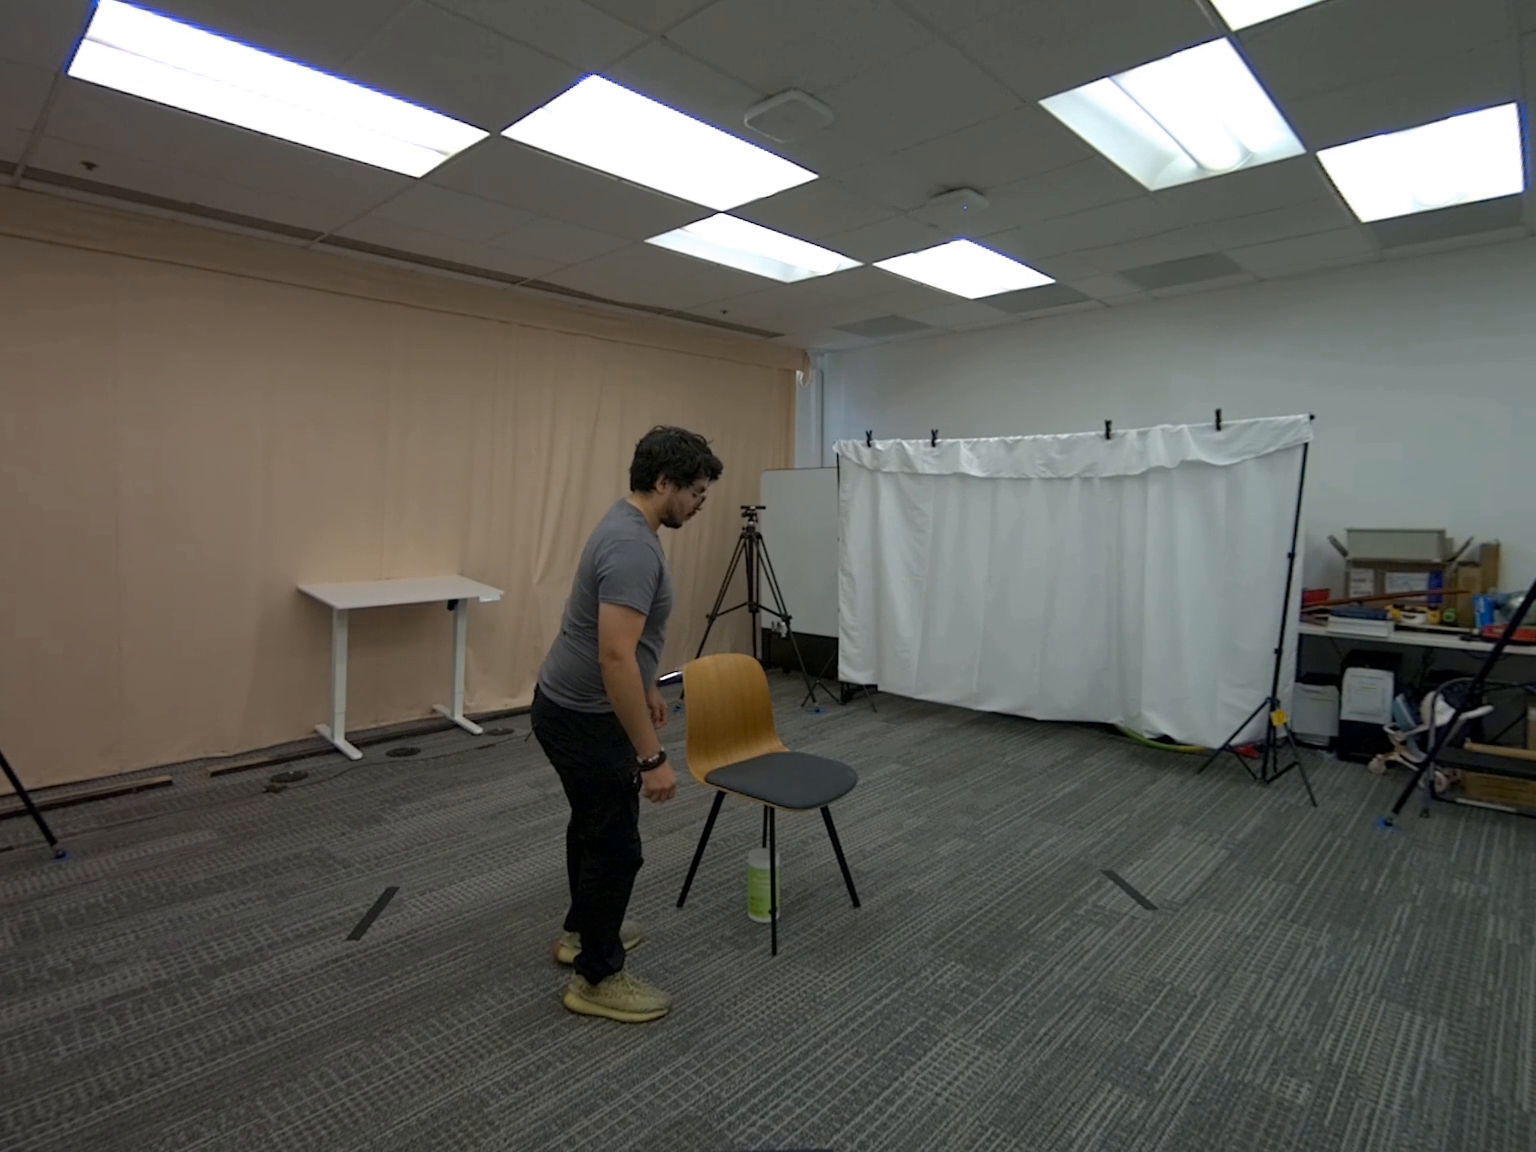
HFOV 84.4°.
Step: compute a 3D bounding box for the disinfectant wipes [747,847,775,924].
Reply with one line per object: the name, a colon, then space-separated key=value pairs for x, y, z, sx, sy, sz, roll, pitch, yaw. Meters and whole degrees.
disinfectant wipes: x=-0.014 y=1.056 z=2.846 sx=0.118 sy=0.217 sz=0.118 roll=0 pitch=5 yaw=-2
